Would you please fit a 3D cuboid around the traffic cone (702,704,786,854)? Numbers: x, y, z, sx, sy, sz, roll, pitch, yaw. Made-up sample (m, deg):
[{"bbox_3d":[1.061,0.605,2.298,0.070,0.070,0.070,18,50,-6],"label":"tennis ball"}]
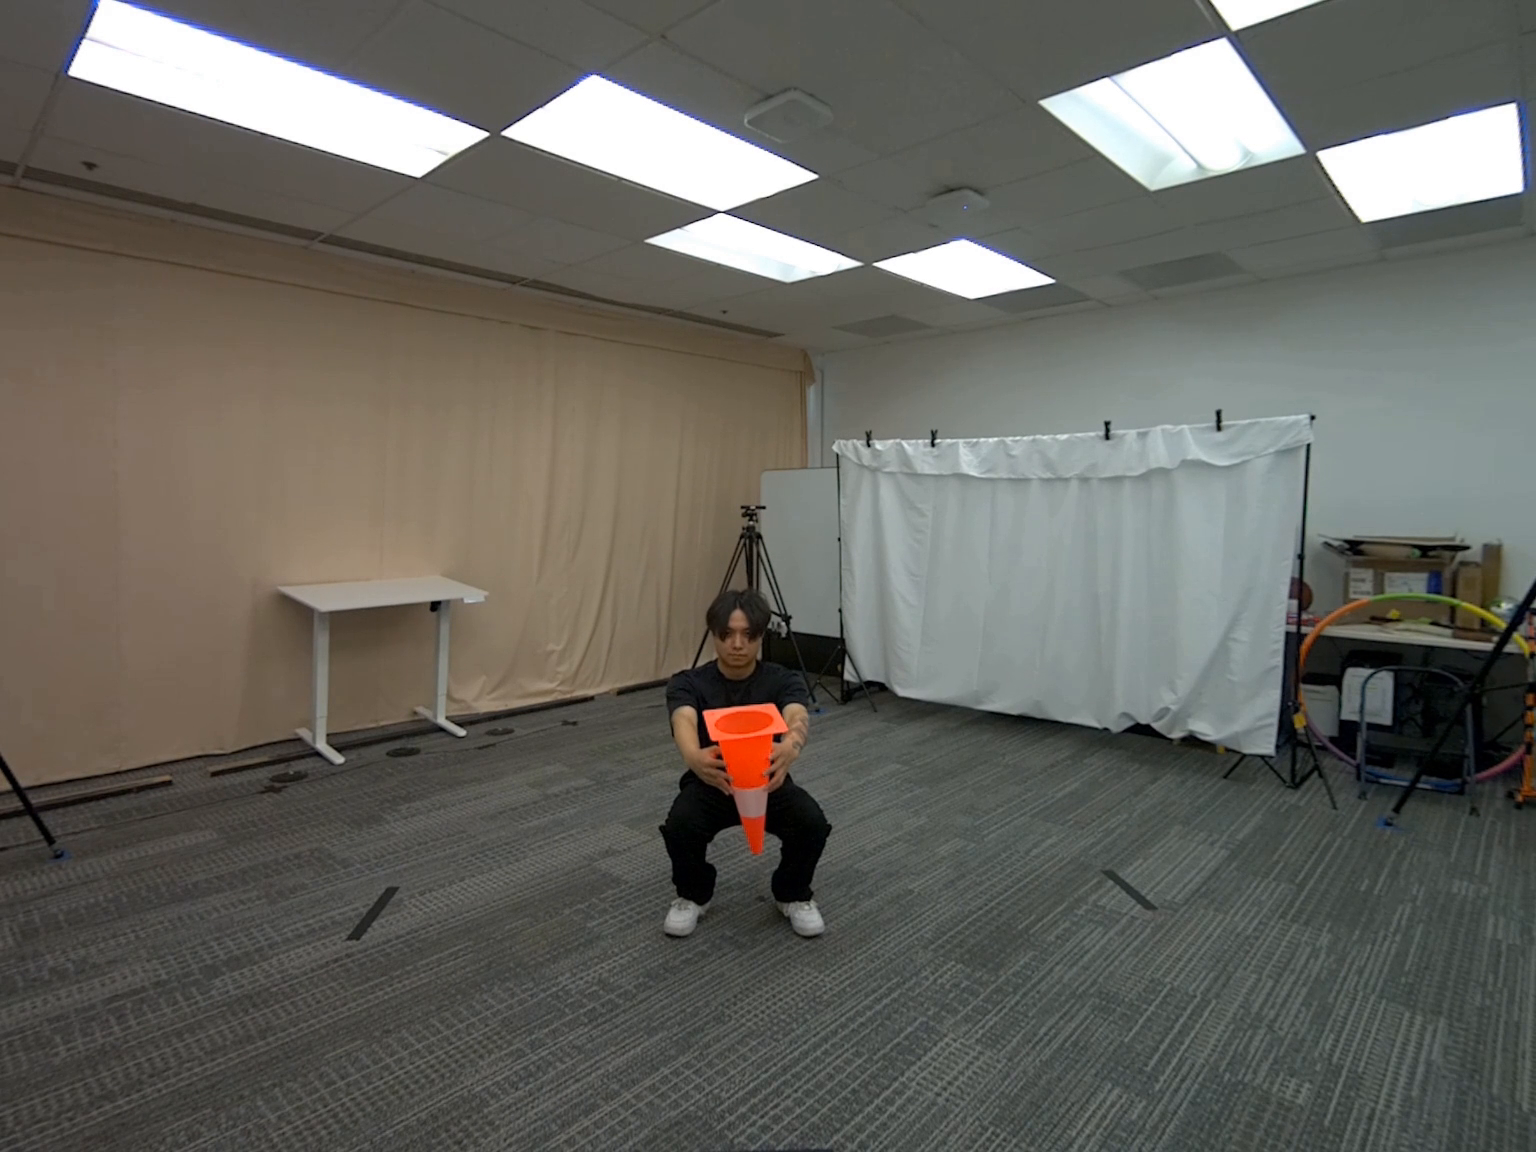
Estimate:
[{"bbox_3d":[-0.053,0.568,2.246,0.203,0.381,0.207,-4,11,-11],"label":"traffic cone"}]
